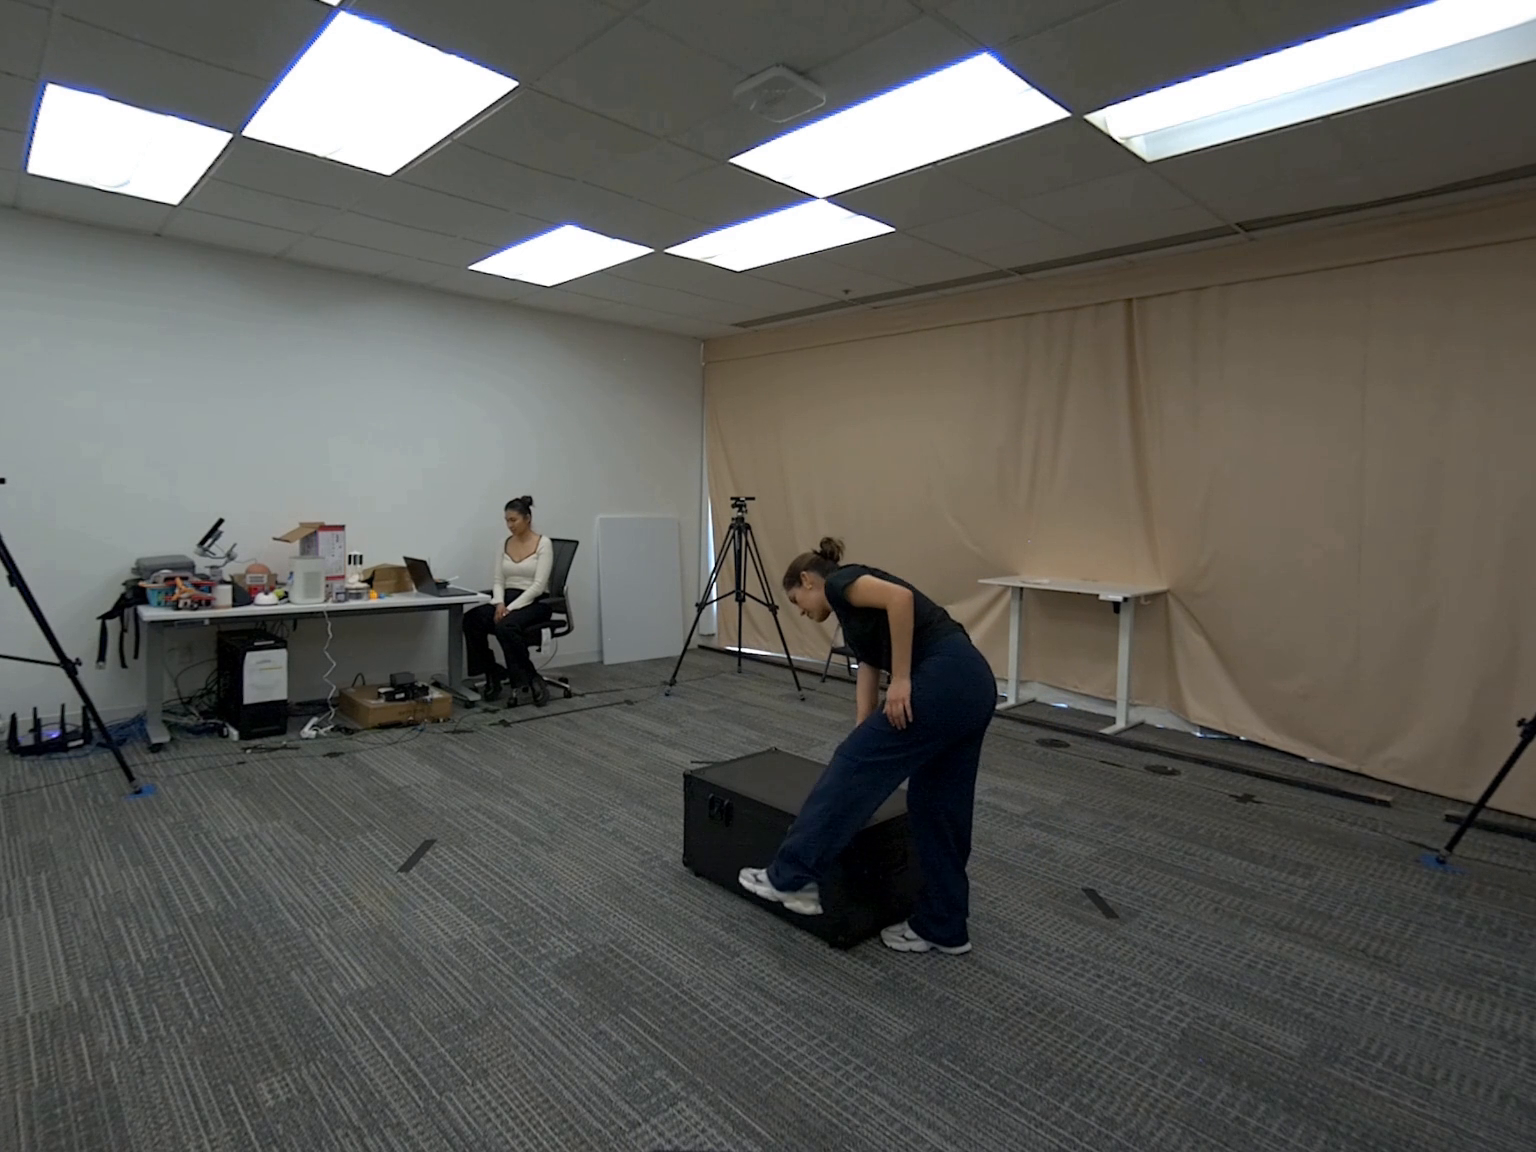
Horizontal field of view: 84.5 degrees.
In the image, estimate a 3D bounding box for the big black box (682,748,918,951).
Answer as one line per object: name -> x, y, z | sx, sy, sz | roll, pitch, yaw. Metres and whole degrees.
big black box -> 0.097, 0.917, 3.022 | 0.509, 0.395, 0.884 | -3, 7, -45
